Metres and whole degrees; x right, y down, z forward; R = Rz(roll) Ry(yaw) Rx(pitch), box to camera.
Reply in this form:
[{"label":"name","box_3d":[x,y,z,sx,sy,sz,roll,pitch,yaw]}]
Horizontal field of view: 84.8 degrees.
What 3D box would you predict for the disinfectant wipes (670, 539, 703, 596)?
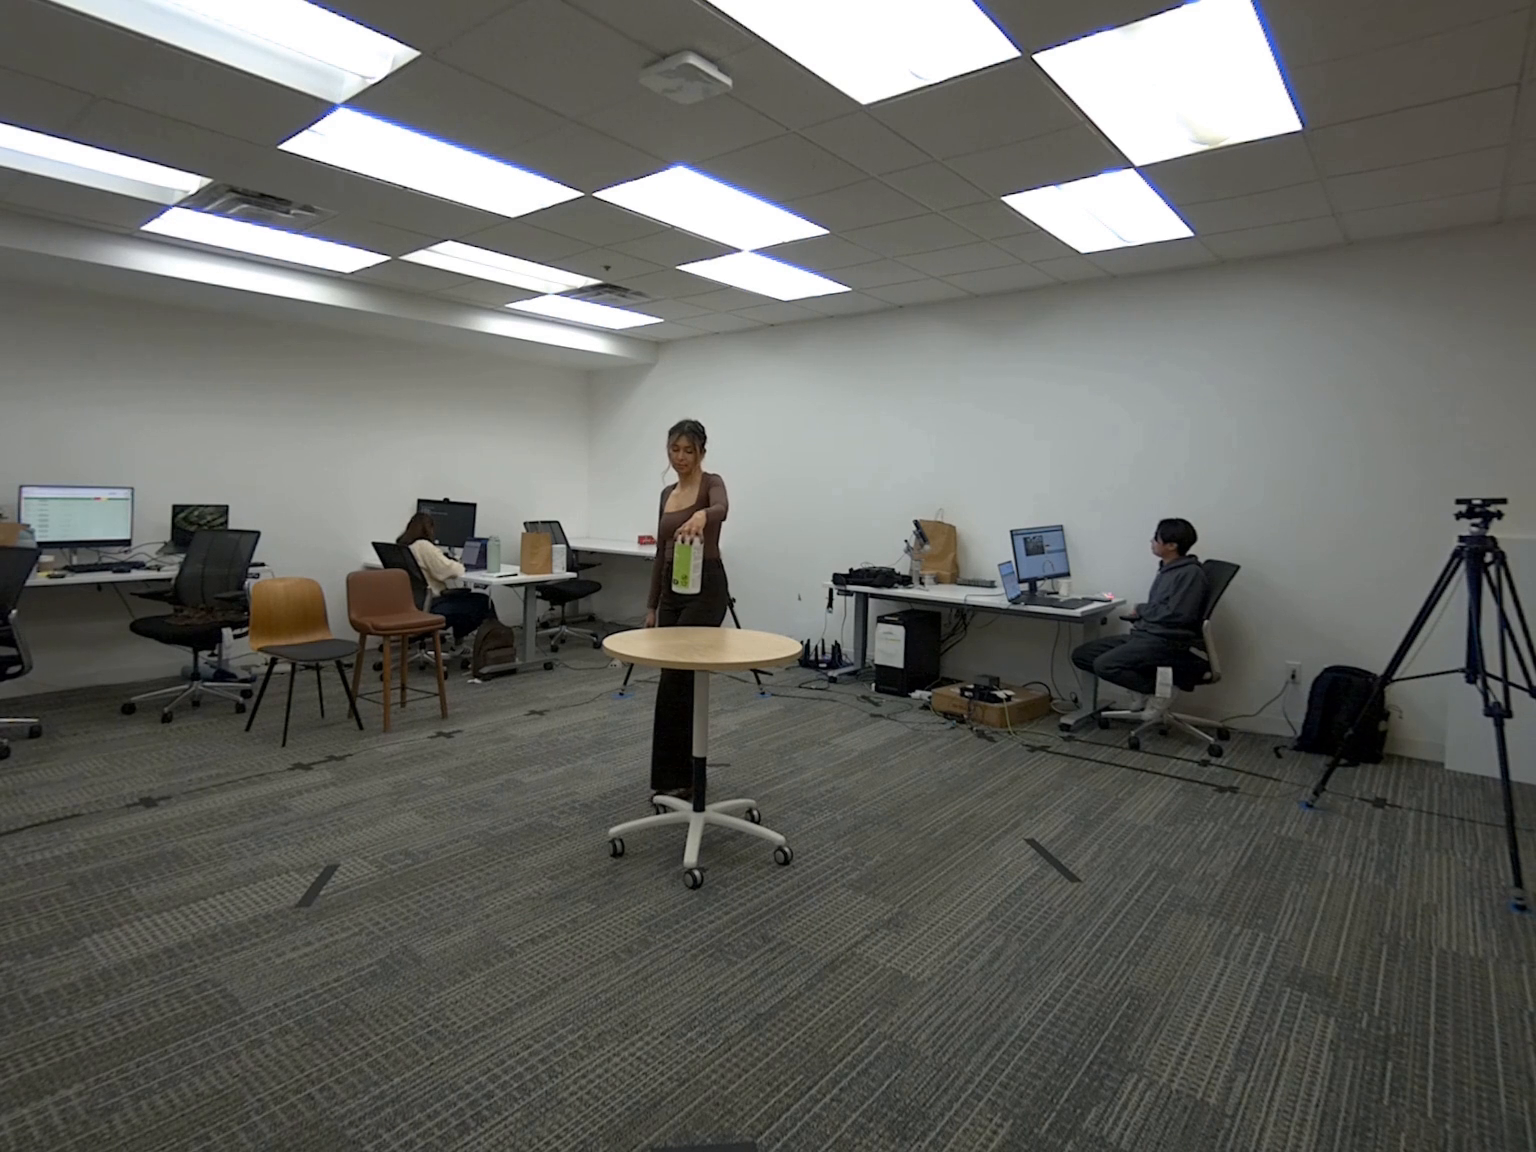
[{"label":"disinfectant wipes","box_3d":[-0.324,-0.047,3.288,0.117,0.216,0.118,1,6,-2]}]
